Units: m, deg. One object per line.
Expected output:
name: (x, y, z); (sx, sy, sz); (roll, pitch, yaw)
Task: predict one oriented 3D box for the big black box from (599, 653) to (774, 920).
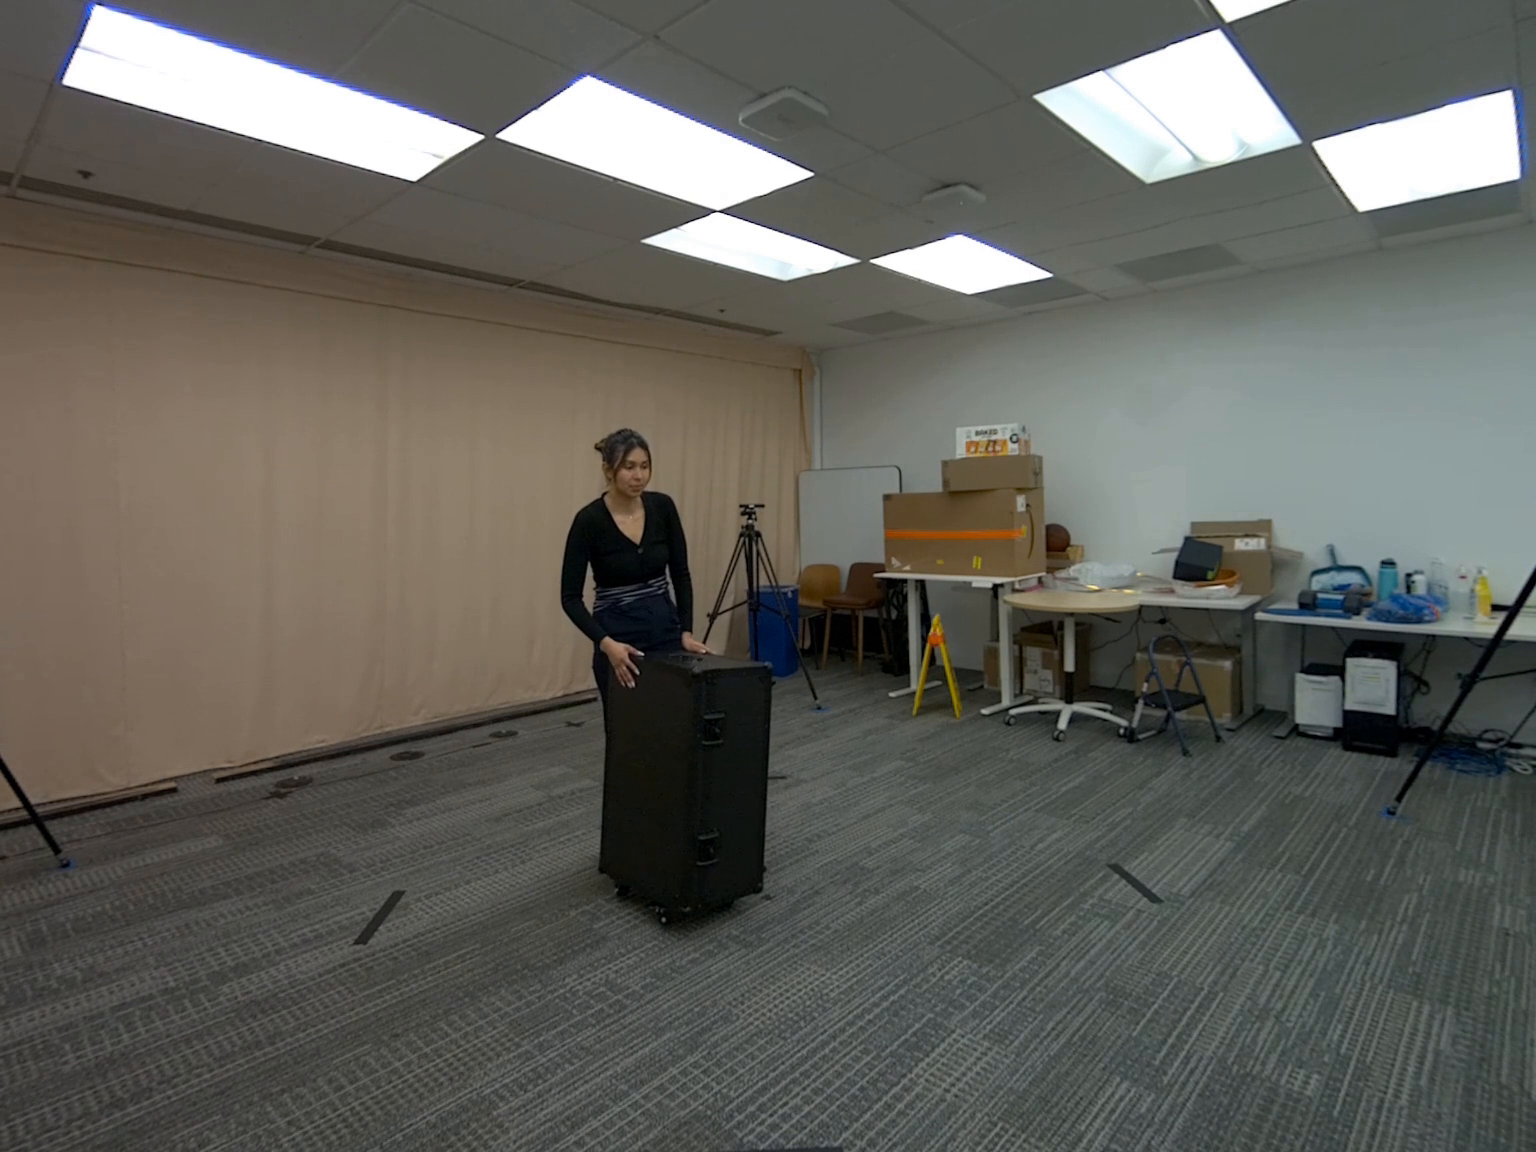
big black box: (-0.268, 0.662, 2.948); (0.383, 0.861, 0.538); (2, 0, -43)
